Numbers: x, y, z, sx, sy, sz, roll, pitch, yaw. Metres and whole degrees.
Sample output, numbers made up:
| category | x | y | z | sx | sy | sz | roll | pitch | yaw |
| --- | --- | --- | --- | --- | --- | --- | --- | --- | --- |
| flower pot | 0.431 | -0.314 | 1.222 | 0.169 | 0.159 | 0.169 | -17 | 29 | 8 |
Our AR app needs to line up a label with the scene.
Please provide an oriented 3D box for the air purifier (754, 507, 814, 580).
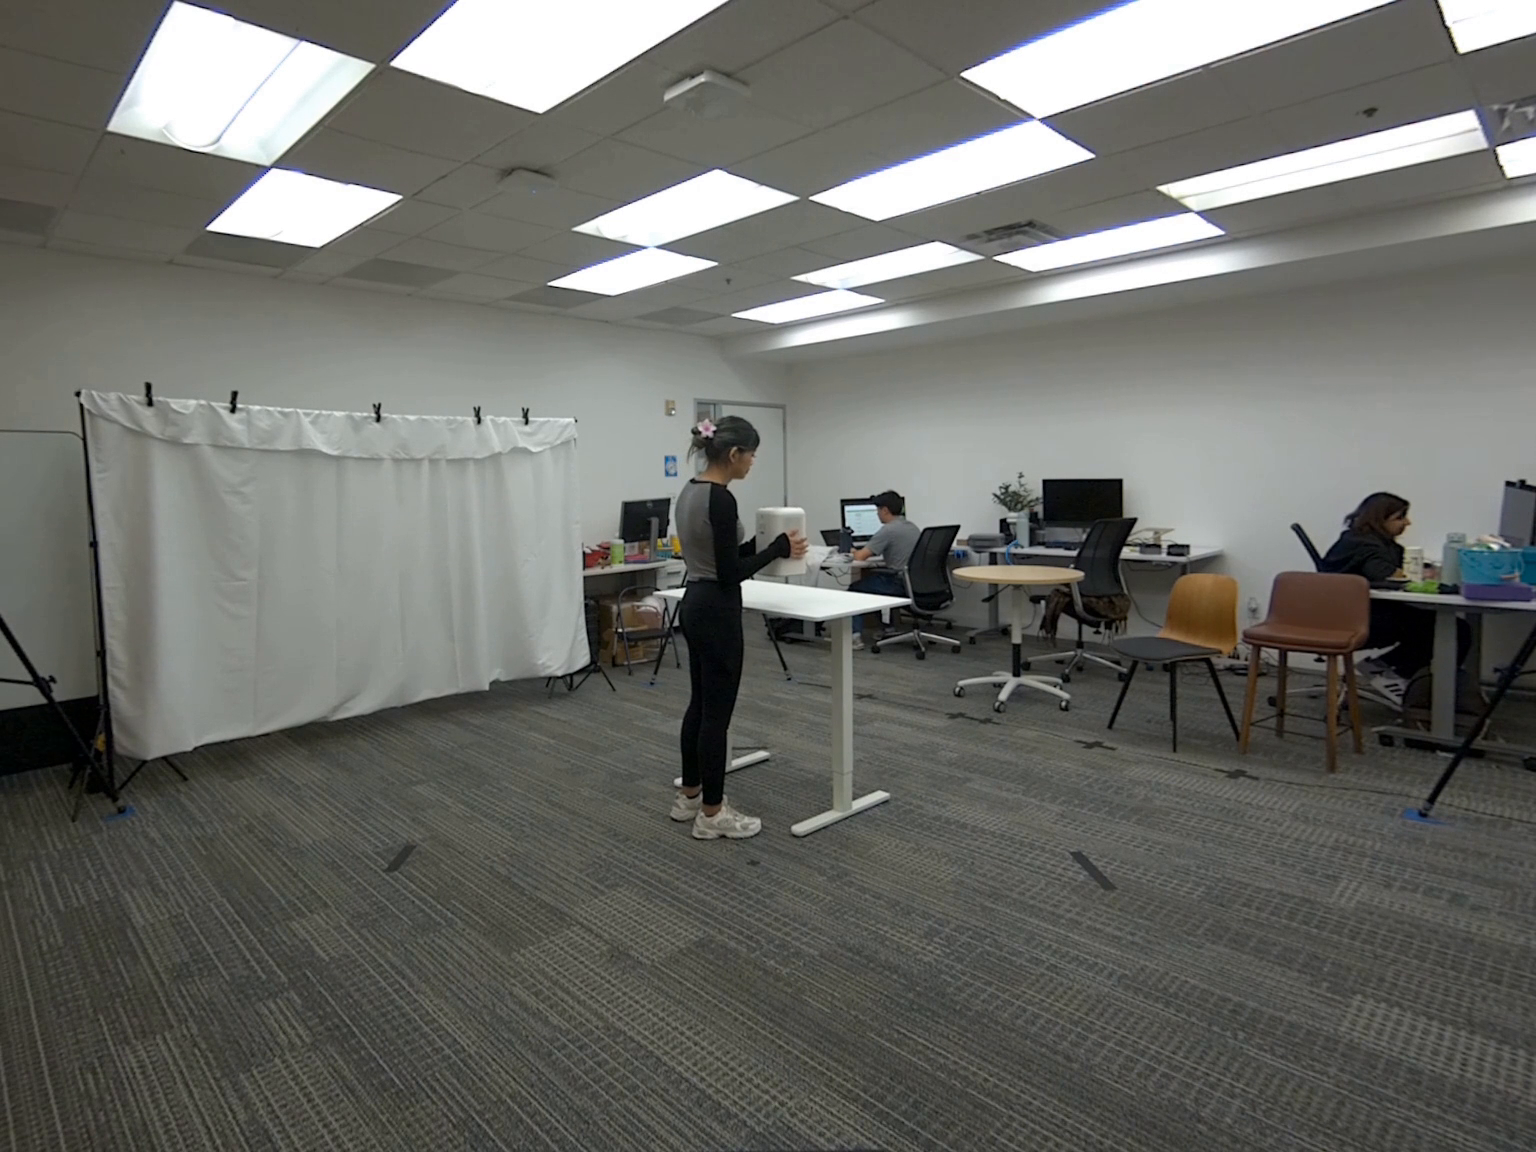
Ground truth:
| category | x | y | z | sx | sy | sz | roll | pitch | yaw |
| --- | --- | --- | --- | --- | --- | --- | --- | --- | --- |
| air purifier | 0.043 | -0.139 | 3.392 | 0.167 | 0.264 | 0.176 | -3 | 6 | -32 |
